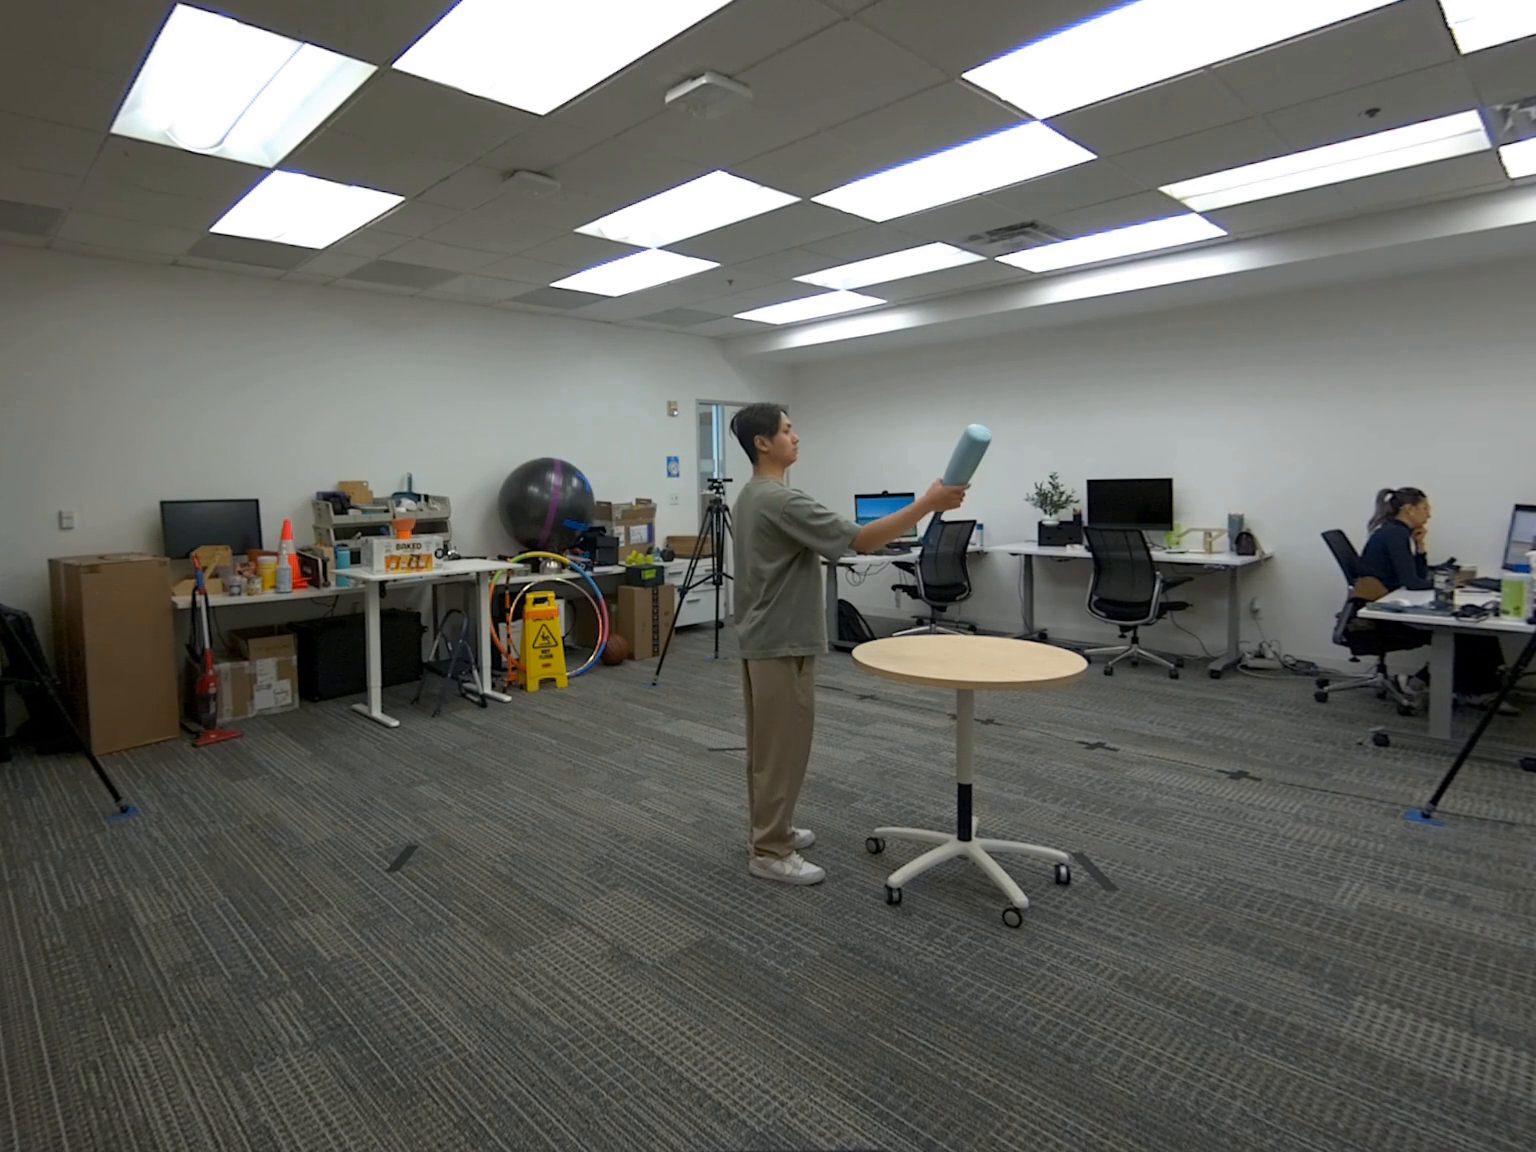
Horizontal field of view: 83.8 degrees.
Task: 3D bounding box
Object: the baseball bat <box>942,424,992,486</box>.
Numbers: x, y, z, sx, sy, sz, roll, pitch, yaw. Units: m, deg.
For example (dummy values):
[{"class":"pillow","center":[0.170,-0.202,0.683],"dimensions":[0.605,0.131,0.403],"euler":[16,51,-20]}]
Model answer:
[{"class":"baseball bat","center":[0.613,-0.278,2.839],"dimensions":[0.088,0.091,0.533],"euler":[7,-42,-9]}]
